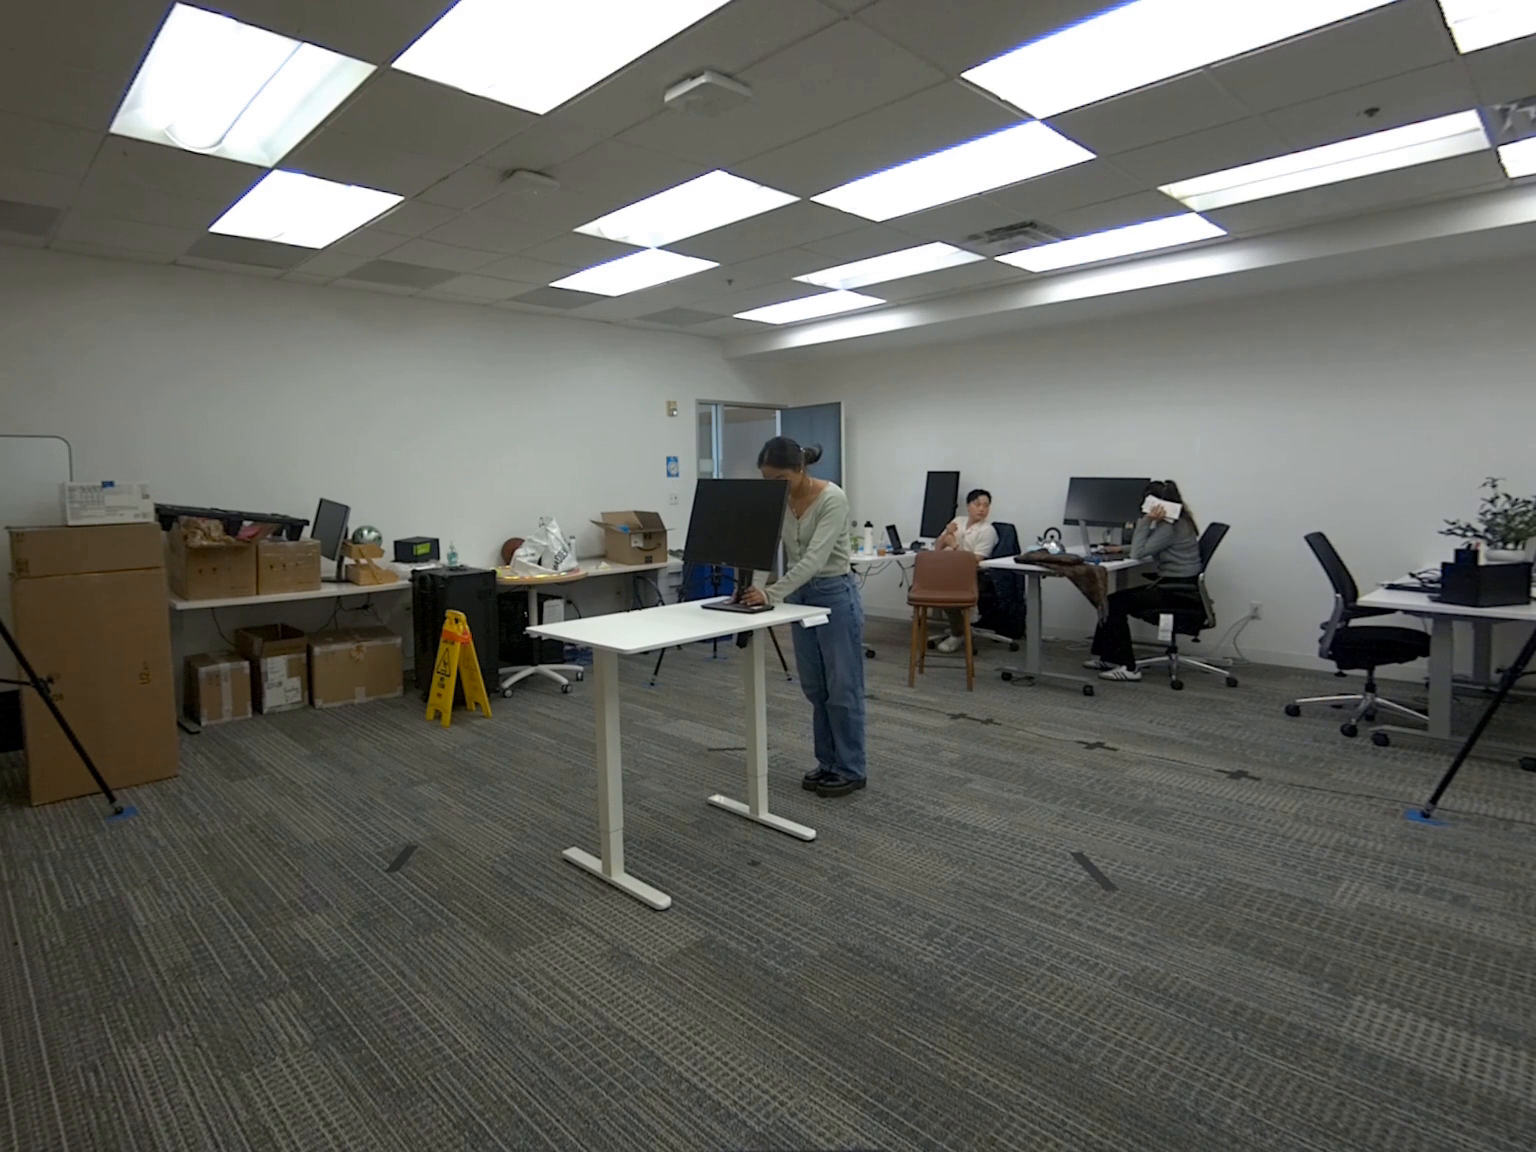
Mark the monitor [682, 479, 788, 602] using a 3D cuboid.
[{"bbox_3d":[-0.114,-0.124,3.381,0.182,0.521,0.556,-3,6,-44],"label":"monitor"}]
